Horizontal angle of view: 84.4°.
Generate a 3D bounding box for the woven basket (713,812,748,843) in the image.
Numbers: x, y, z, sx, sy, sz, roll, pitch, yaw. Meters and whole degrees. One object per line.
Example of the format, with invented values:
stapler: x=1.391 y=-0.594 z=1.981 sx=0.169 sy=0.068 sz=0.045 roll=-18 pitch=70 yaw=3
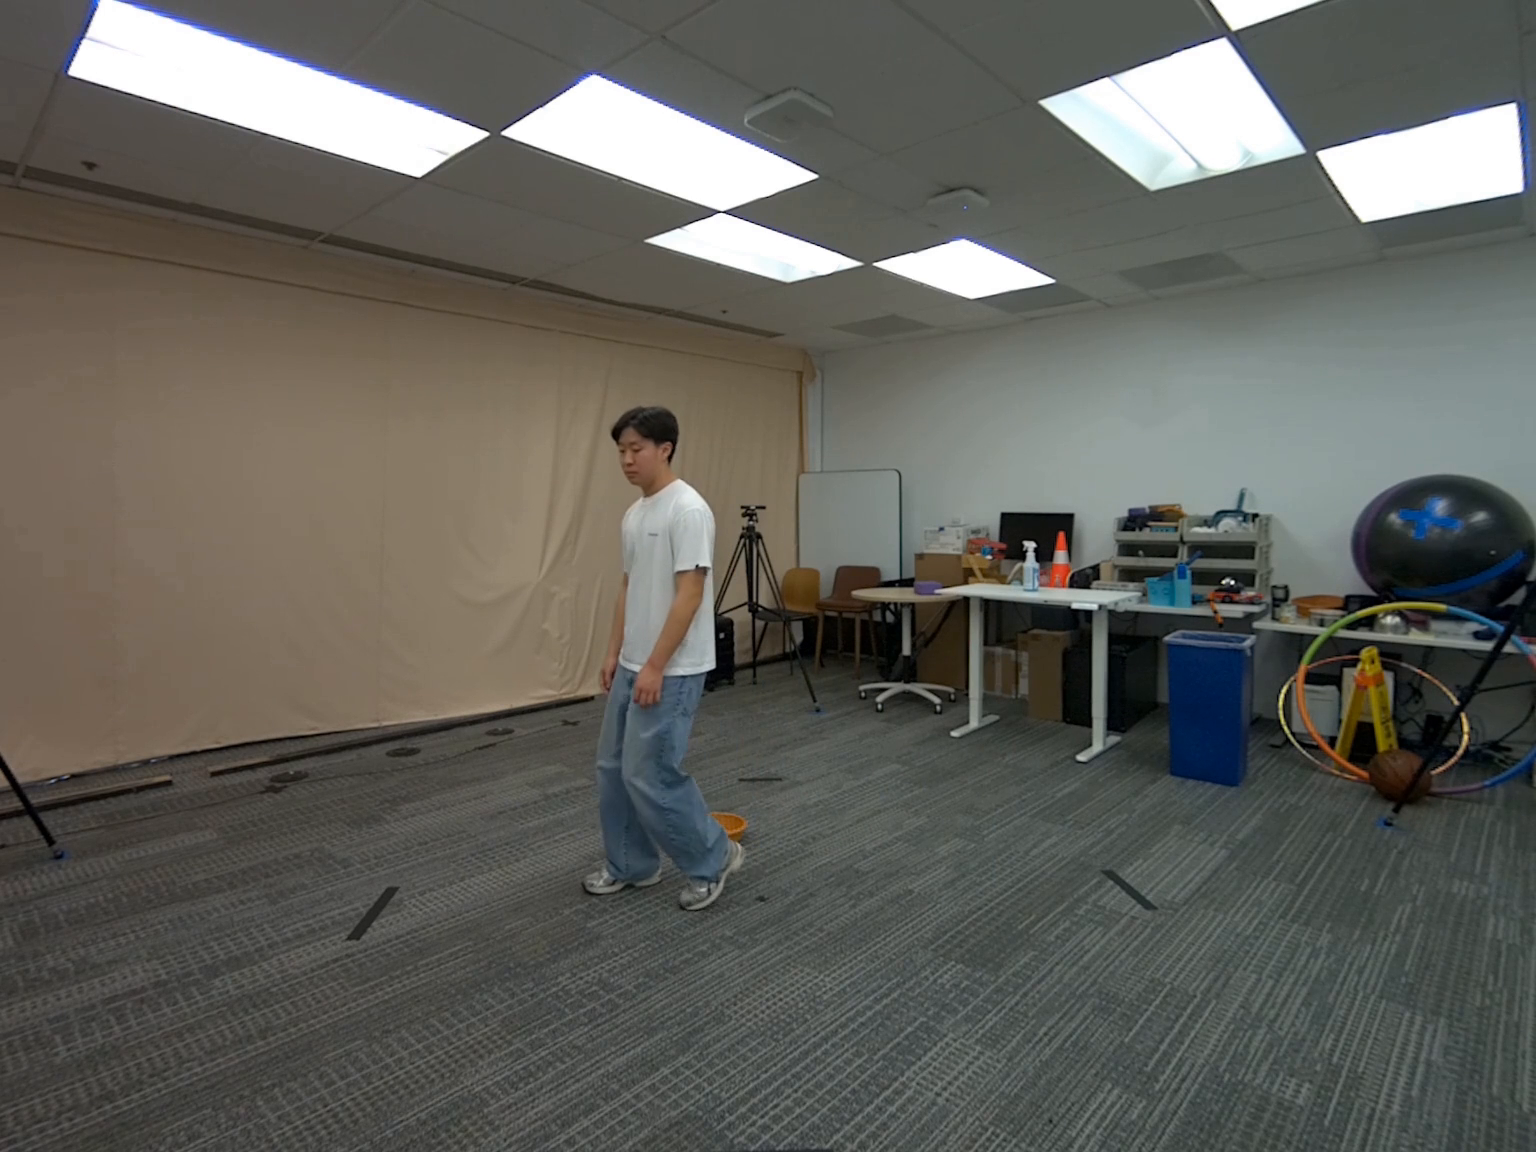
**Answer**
woven basket: x=-0.257 y=1.059 z=3.496 sx=0.344 sy=0.073 sz=0.258 roll=-2 pitch=5 yaw=-19
